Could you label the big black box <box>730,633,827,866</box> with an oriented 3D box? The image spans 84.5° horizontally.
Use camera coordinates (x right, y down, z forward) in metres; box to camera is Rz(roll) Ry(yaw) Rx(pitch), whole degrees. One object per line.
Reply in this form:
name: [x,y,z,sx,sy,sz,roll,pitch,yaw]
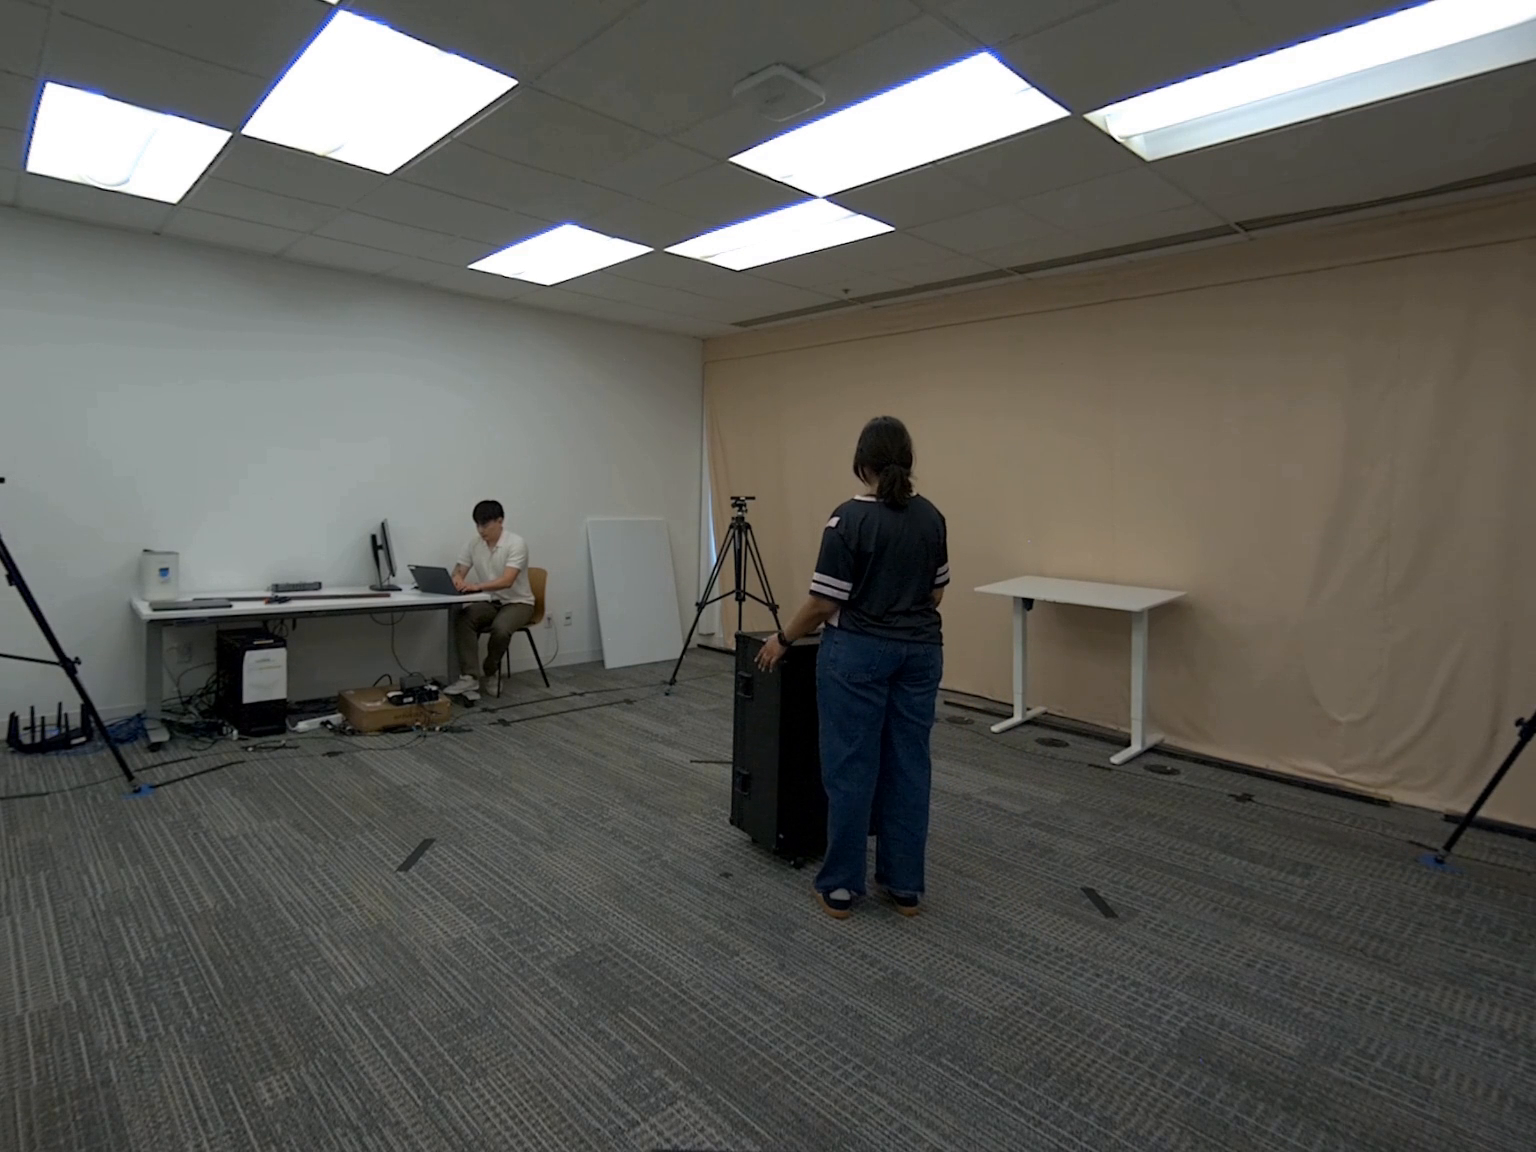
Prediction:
big black box: [0.158,0.668,3.364,0.513,0.866,0.394,-1,4,-30]
